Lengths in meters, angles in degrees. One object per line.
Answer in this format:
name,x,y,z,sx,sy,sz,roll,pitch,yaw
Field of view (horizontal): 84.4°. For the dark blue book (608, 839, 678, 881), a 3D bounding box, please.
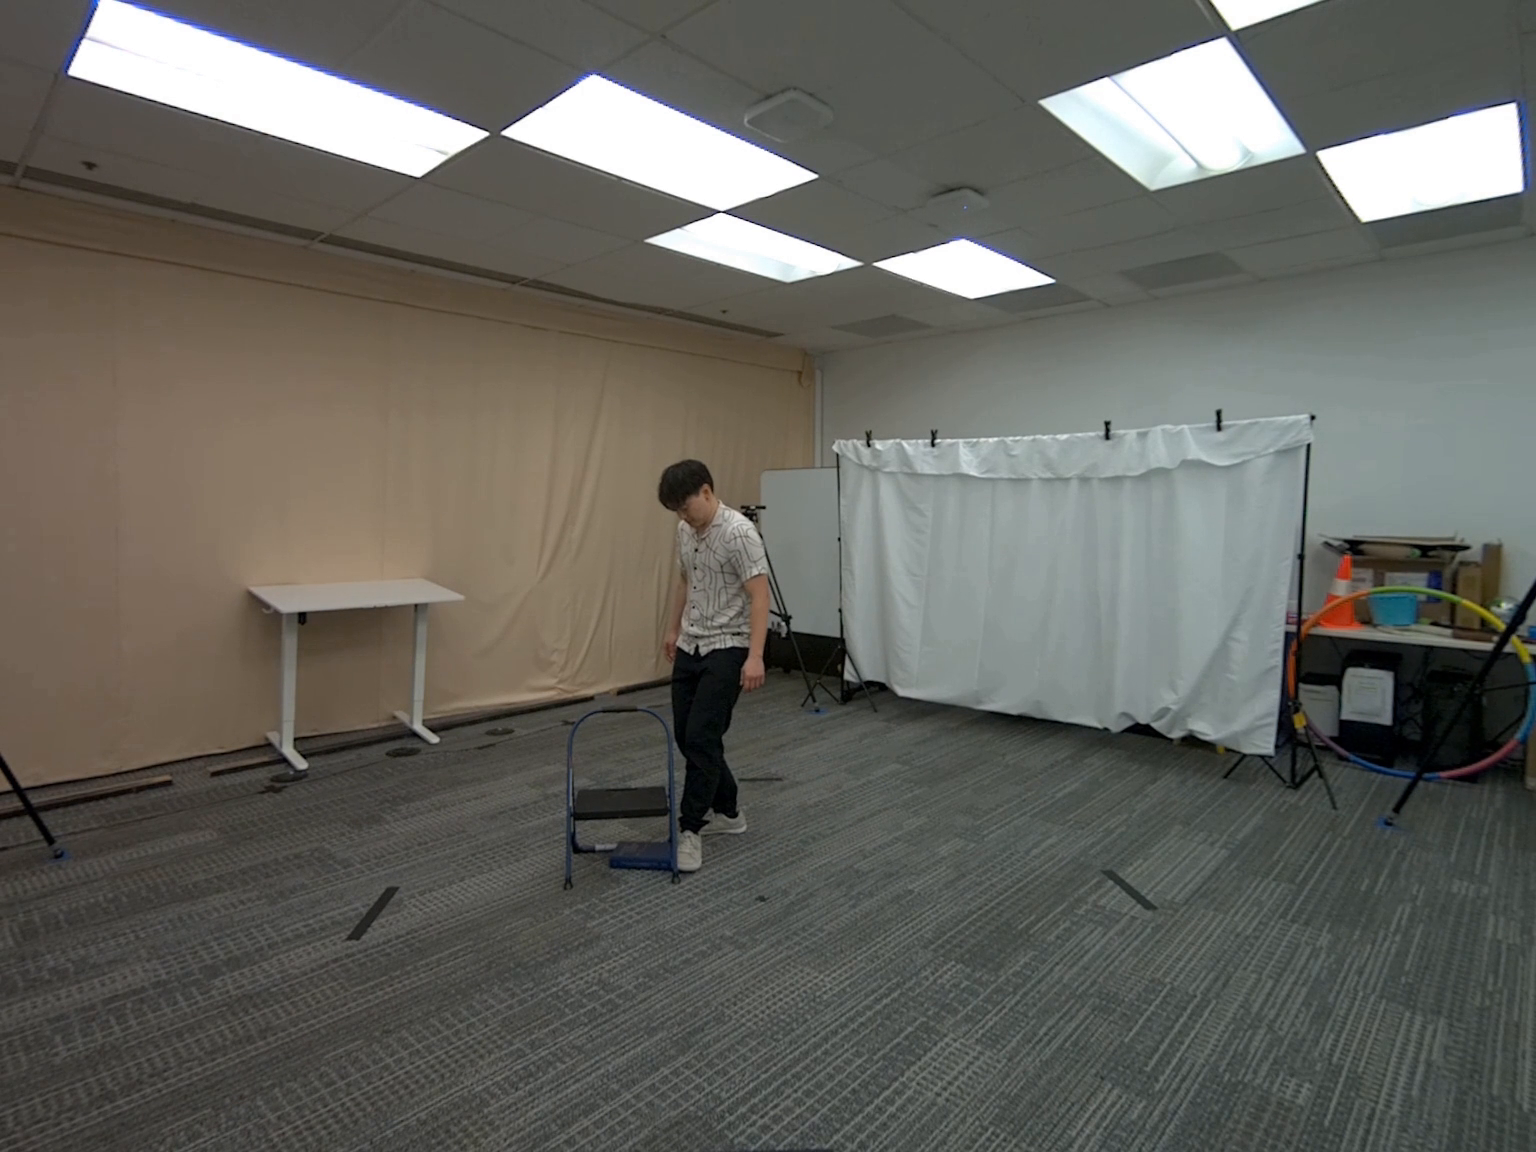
dark blue book,-0.484,1.112,3.292,0.247,0.045,0.162,-1,4,6
